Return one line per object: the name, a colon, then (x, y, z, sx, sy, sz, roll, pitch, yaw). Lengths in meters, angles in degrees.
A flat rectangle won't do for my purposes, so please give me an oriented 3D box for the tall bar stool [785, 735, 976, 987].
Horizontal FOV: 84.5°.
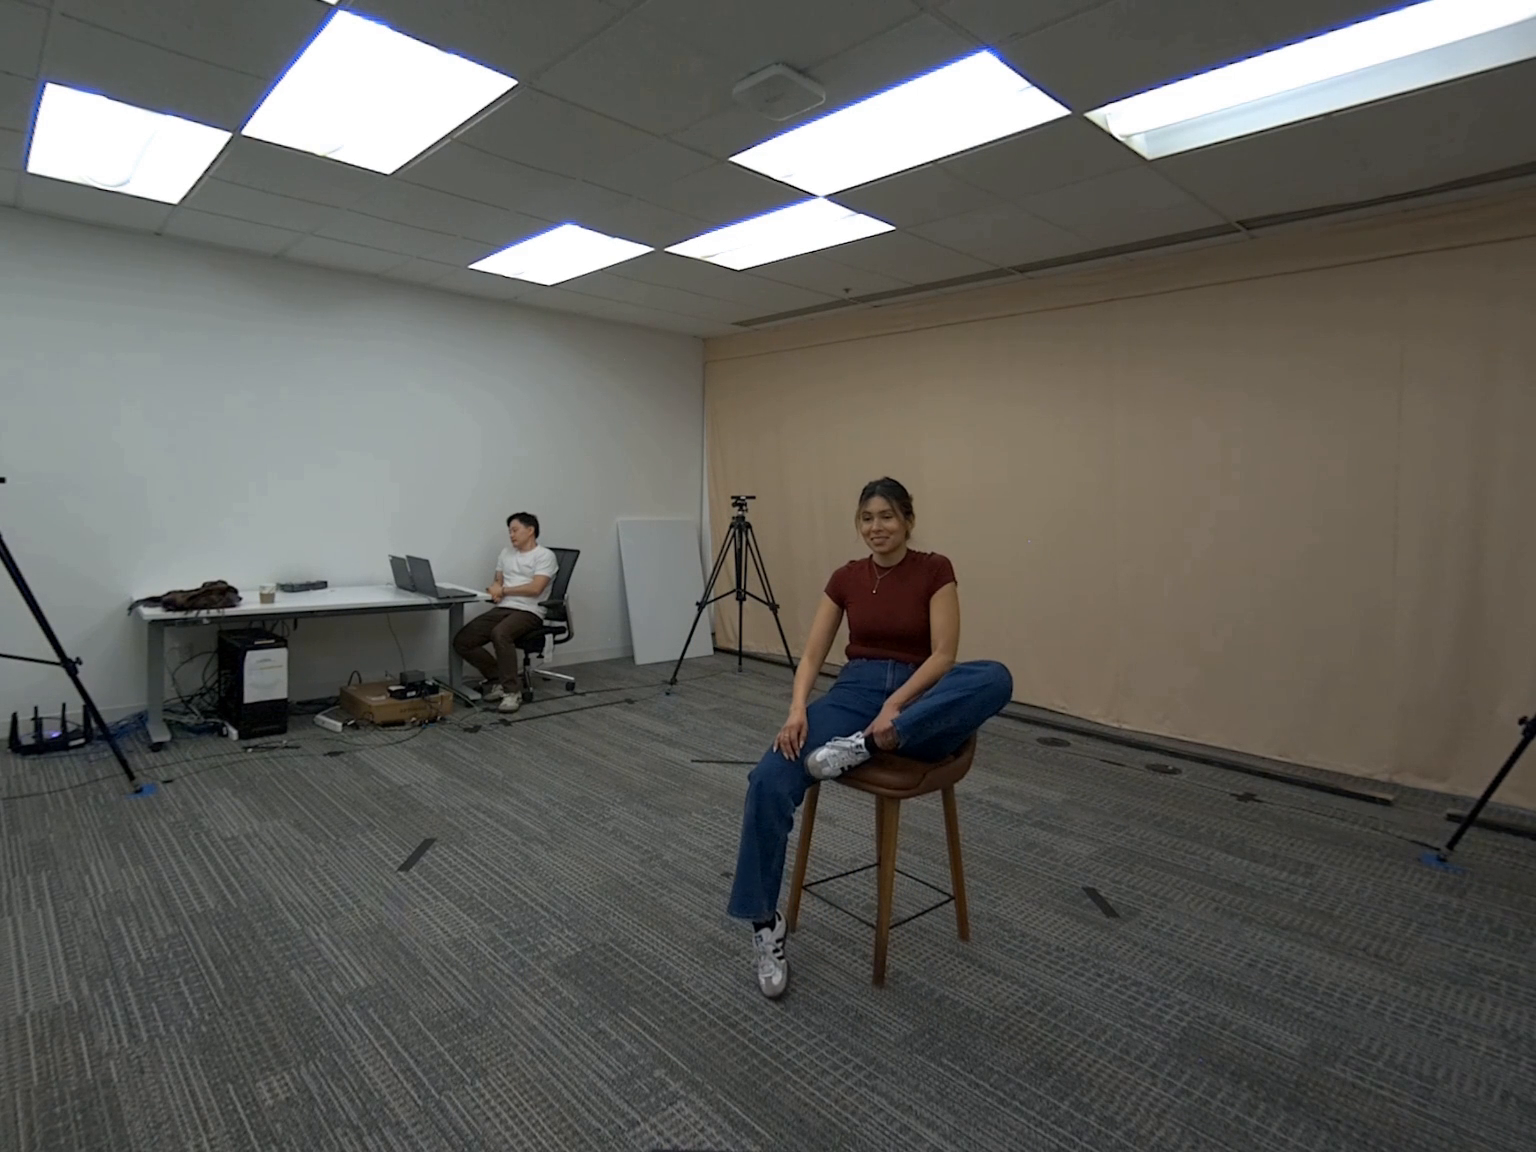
tall bar stool: (0.375, 0.721, 2.675, 0.456, 0.888, 0.468, 1, 4, -40)
